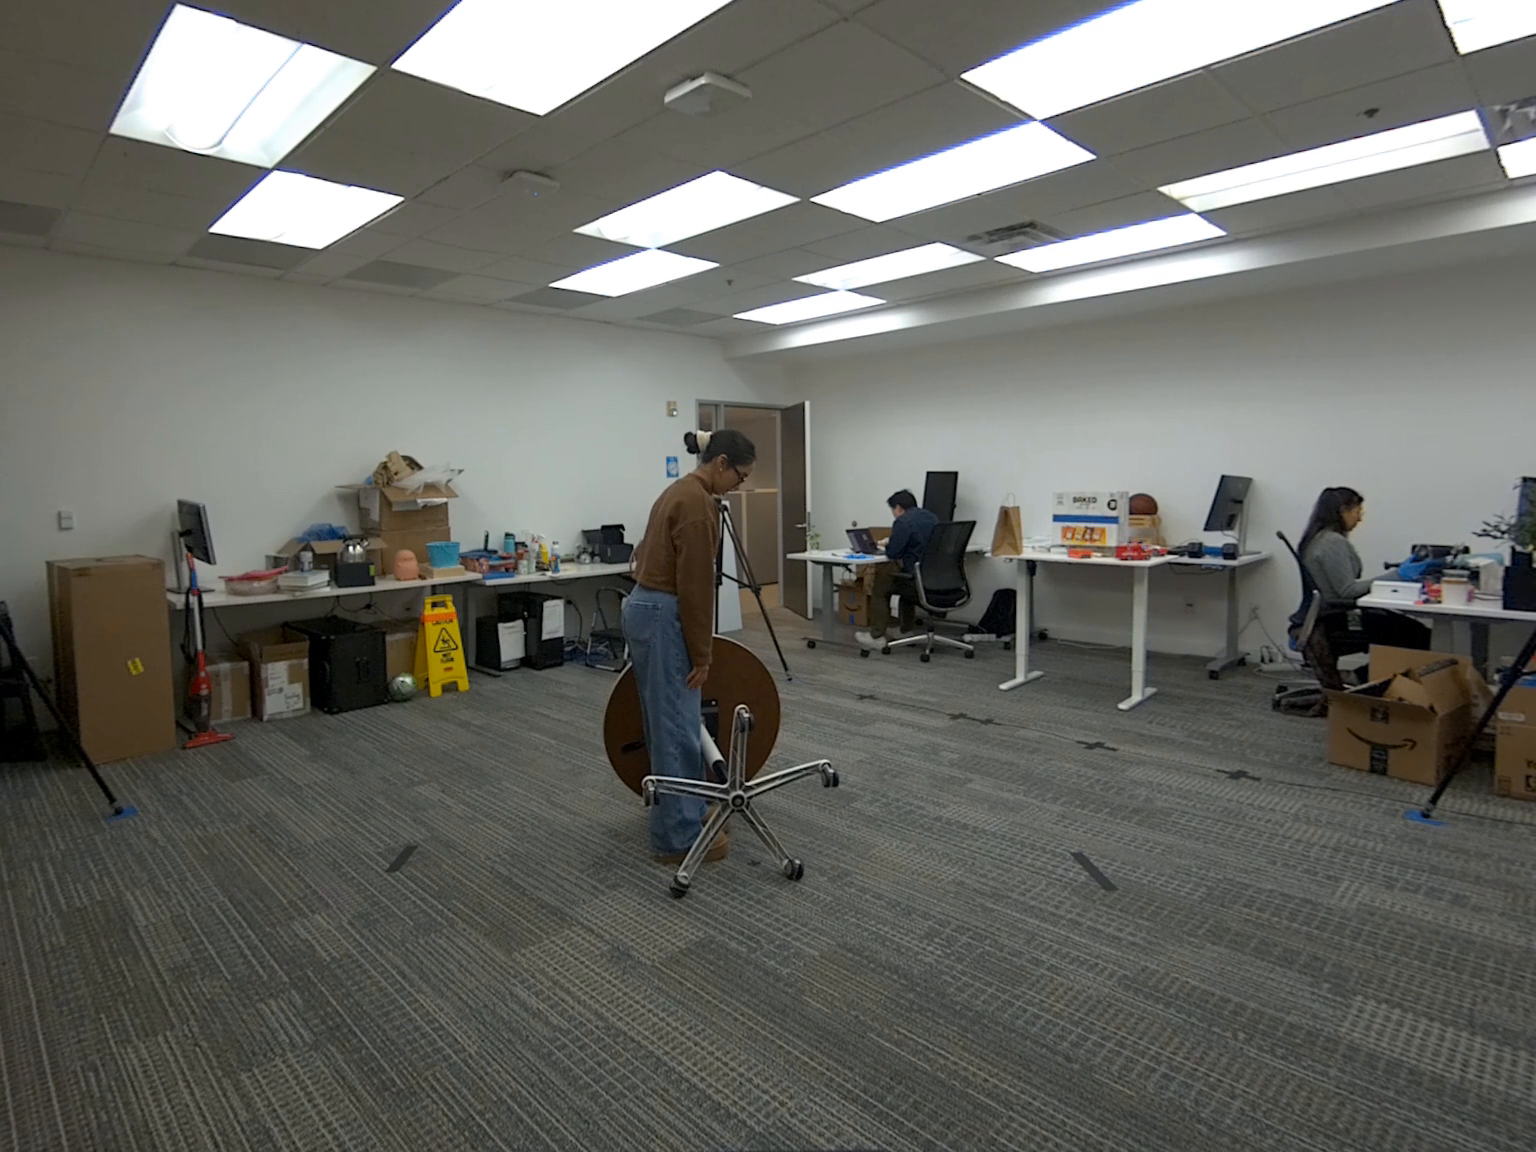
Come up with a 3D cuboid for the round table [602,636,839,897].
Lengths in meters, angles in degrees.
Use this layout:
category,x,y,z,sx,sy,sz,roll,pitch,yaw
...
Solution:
category,x,y,z,sx,sy,sz,roll,pitch,yaw
round table,-0.201,0.709,3.232,0.754,0.756,0.813,-2,12,-15
